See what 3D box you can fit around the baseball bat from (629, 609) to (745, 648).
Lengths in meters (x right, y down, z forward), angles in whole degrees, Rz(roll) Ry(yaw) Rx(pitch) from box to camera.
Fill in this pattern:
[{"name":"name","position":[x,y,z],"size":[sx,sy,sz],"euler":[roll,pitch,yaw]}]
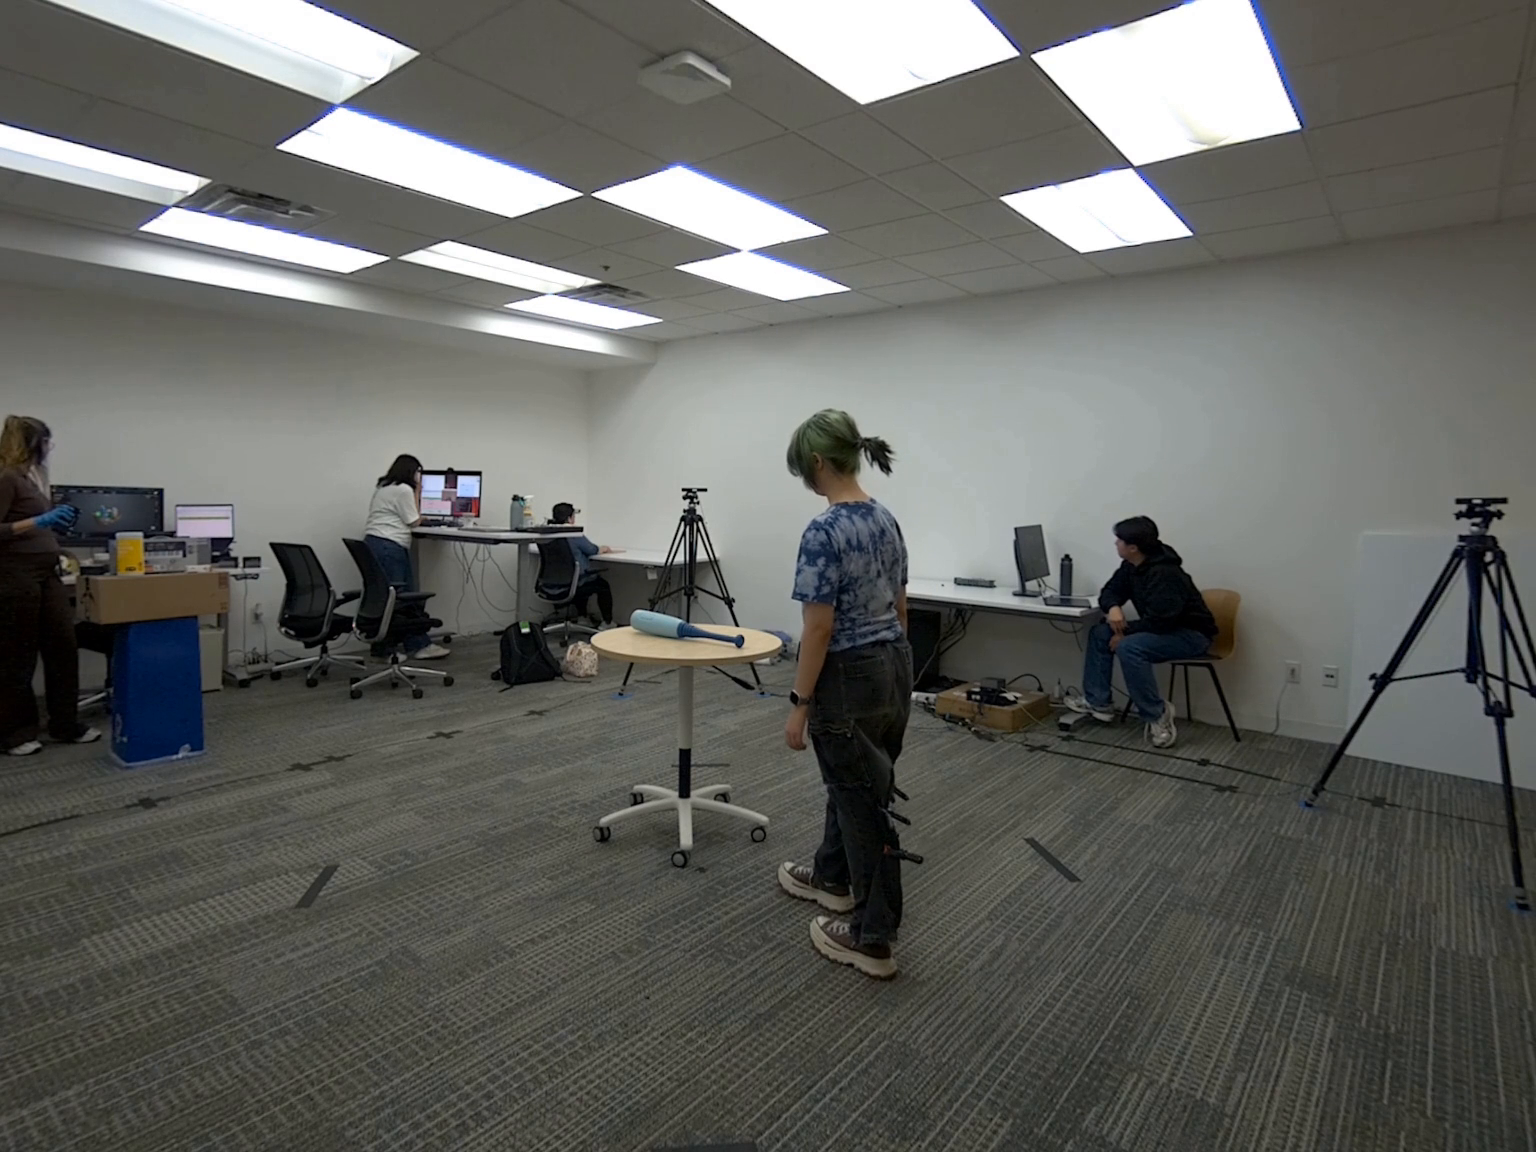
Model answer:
[{"name":"baseball bat","position":[-0.334,0.218,3.416],"size":[0.561,0.088,0.086],"euler":[9,8,33]}]
